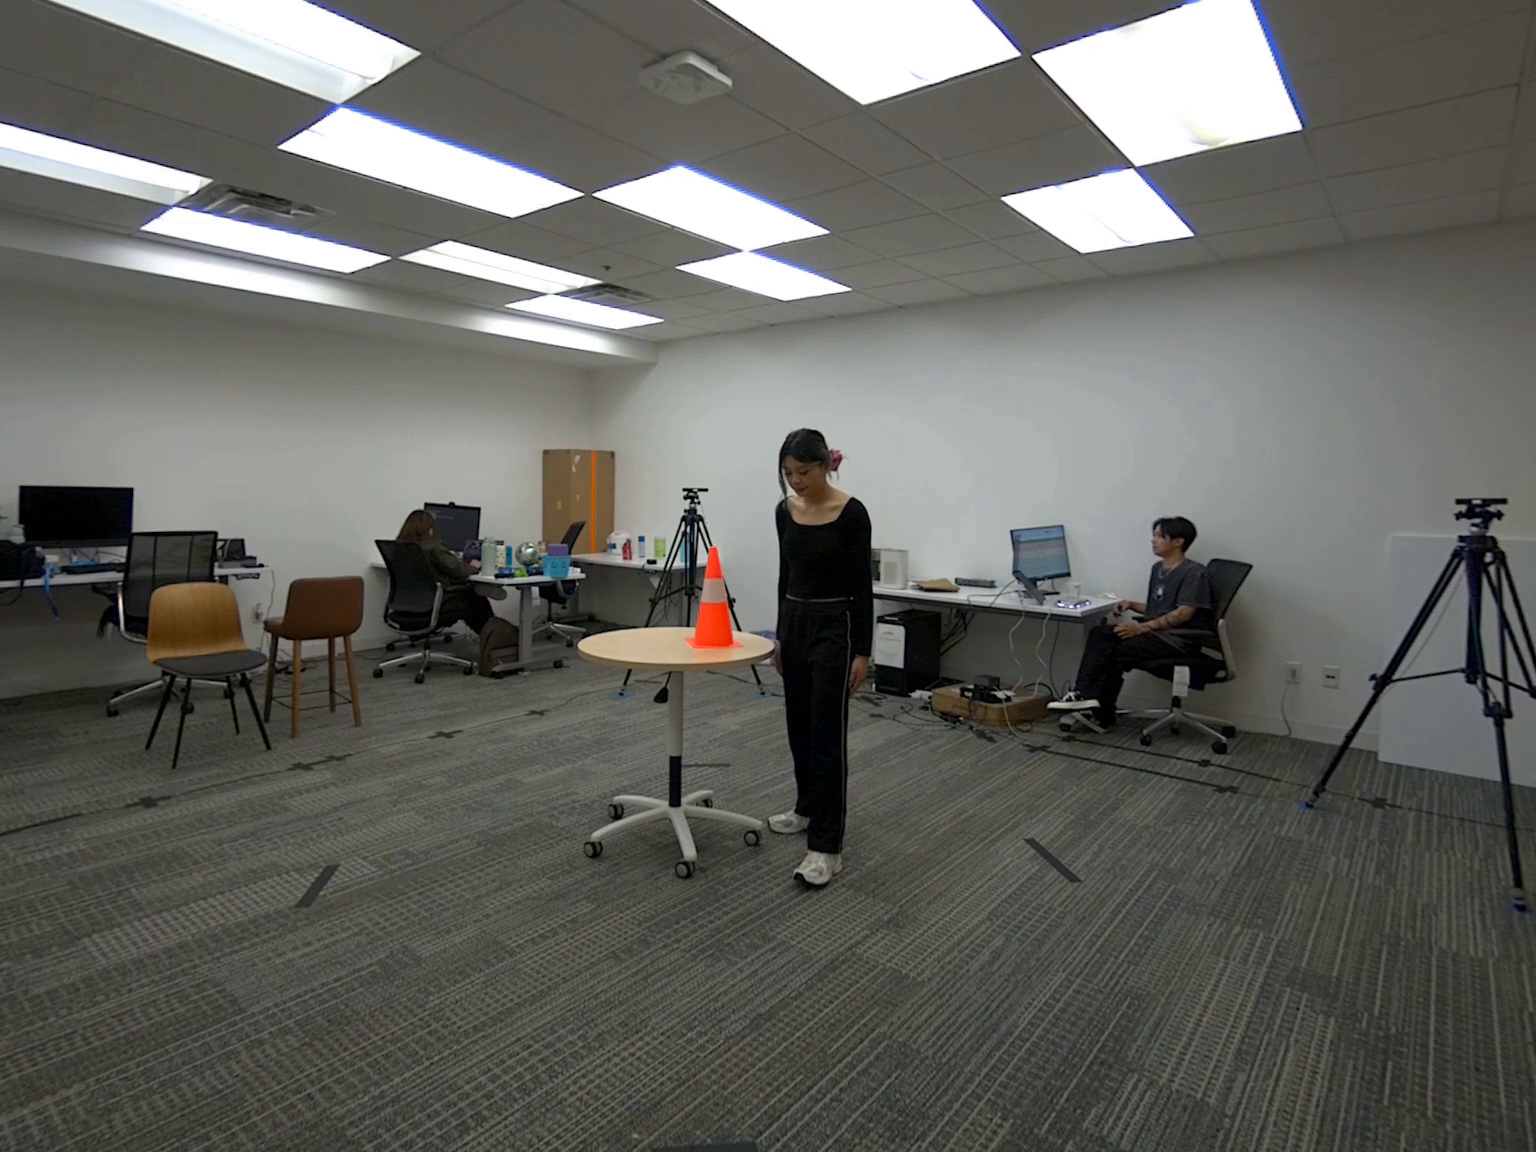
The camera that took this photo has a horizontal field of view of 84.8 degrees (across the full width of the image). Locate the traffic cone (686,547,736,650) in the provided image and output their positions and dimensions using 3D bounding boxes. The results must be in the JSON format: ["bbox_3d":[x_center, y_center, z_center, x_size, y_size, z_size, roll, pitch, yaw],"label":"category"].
[{"bbox_3d":[-0.221,0.075,3.347,0.201,0.383,0.208,1,3,-11],"label":"traffic cone"}]
